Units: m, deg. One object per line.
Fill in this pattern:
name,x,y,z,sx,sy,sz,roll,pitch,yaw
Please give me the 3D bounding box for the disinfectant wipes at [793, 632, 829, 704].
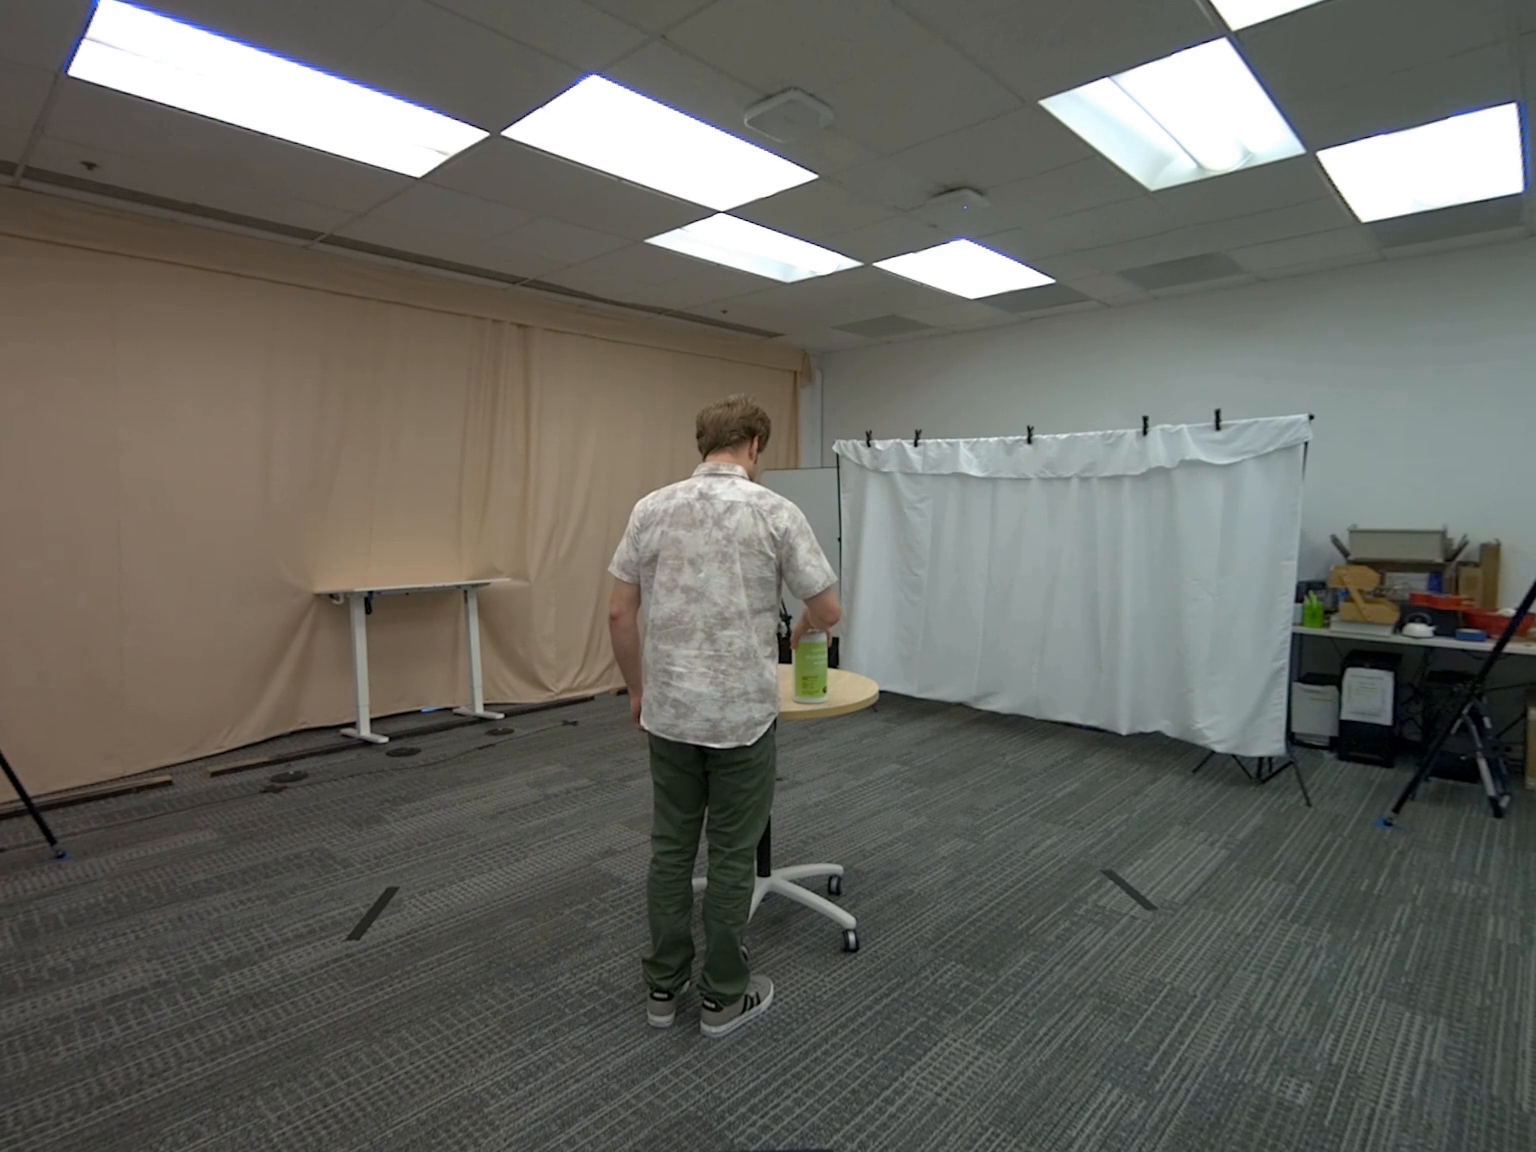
disinfectant wipes,0.132,0.277,2.582,0.118,0.217,0.118,0,4,-2
